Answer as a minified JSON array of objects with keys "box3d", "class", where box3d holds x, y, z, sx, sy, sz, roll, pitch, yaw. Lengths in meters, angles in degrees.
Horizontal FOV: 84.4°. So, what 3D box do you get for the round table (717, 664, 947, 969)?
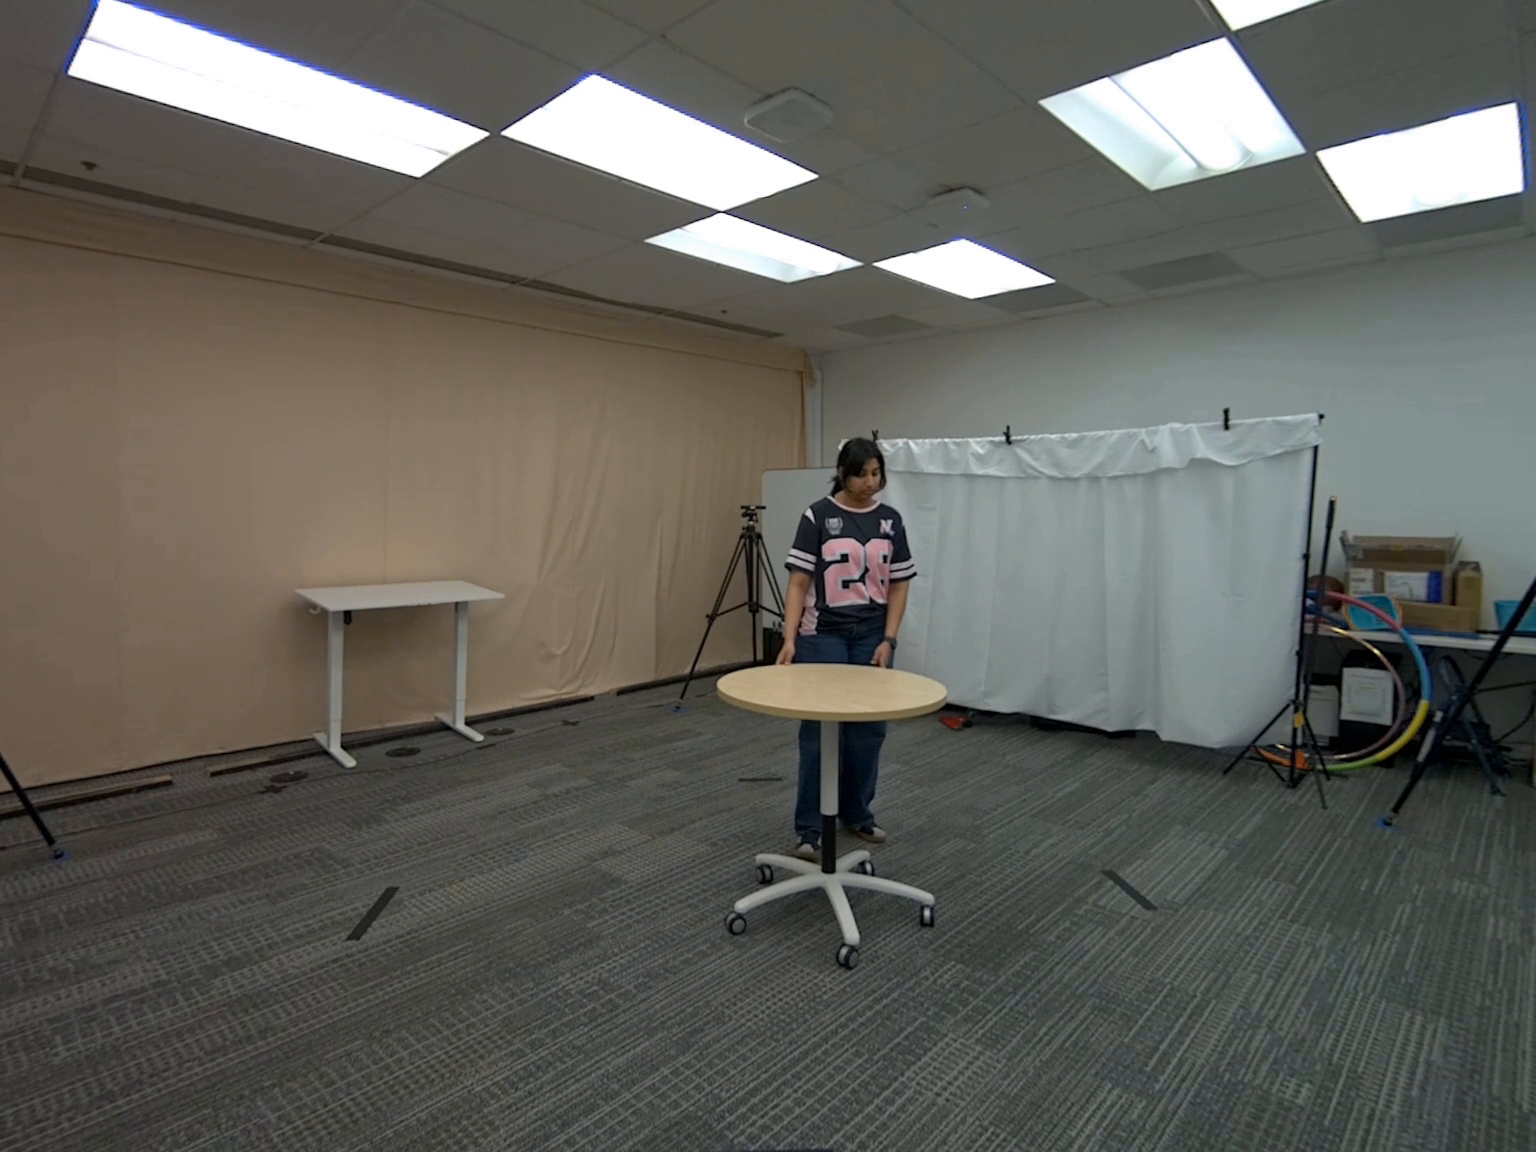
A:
[{"box3d":[0.203,0.763,2.866,0.763,0.792,0.766,0,4,-2],"class":"round table"}]
